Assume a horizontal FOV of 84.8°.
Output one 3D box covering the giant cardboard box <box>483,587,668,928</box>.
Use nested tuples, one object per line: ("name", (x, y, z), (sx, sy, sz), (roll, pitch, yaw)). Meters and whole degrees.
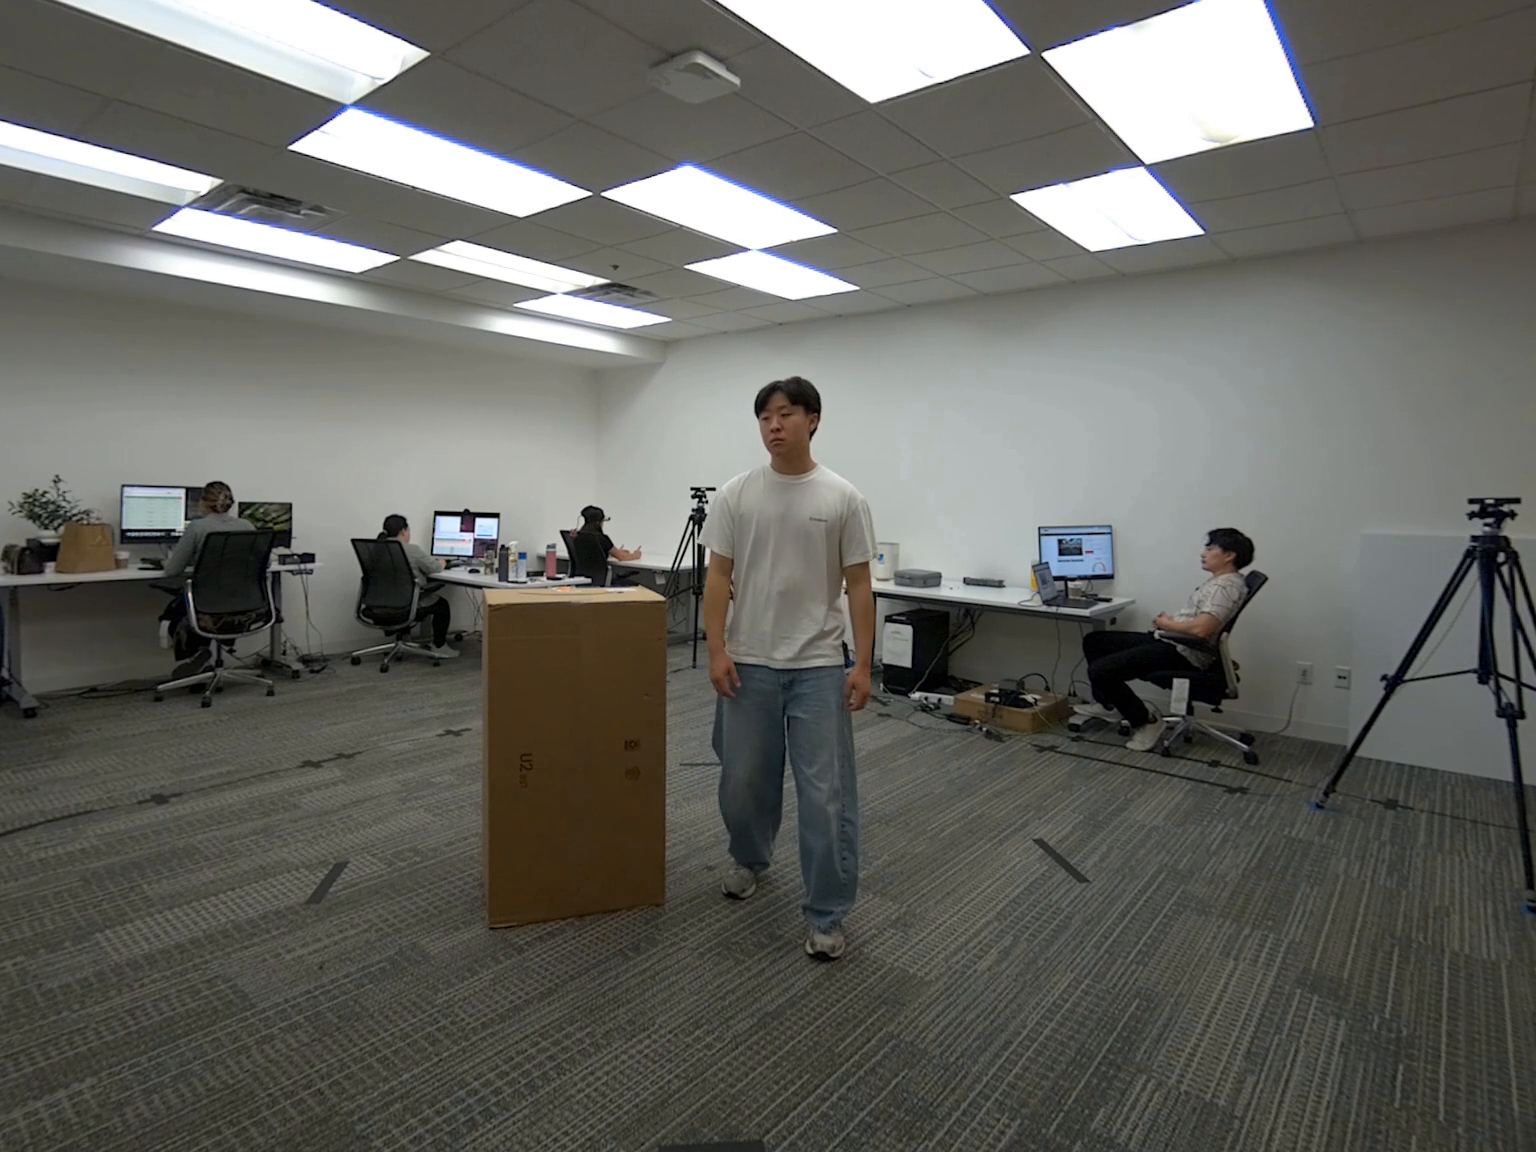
("giant cardboard box", (-0.689, 0.568, 2.921), (0.566, 1.023, 0.436), (-1, 3, -20))
